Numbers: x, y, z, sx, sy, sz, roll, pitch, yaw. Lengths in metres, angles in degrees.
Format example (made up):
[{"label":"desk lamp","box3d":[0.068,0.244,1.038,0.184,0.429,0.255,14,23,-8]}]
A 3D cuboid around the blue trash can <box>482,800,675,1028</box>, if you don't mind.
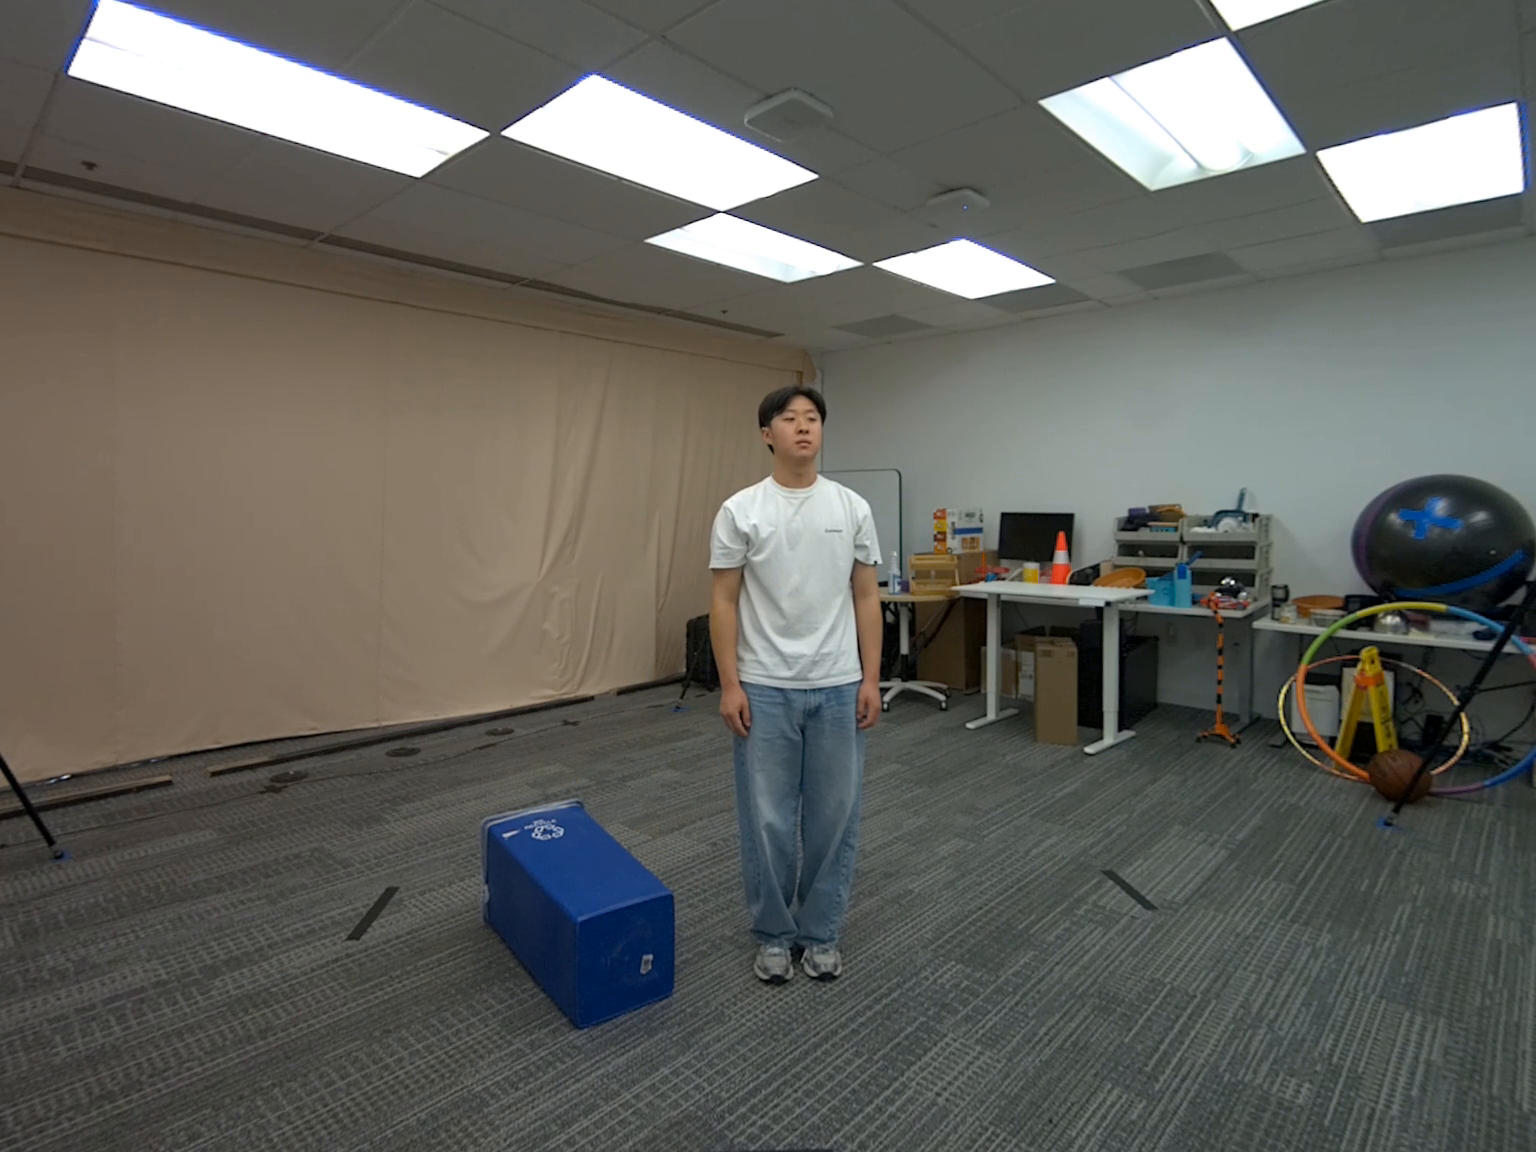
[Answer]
[{"label":"blue trash can","box3d":[-0.589,1.005,2.594,0.367,0.373,0.737,-2,6,-36]}]
